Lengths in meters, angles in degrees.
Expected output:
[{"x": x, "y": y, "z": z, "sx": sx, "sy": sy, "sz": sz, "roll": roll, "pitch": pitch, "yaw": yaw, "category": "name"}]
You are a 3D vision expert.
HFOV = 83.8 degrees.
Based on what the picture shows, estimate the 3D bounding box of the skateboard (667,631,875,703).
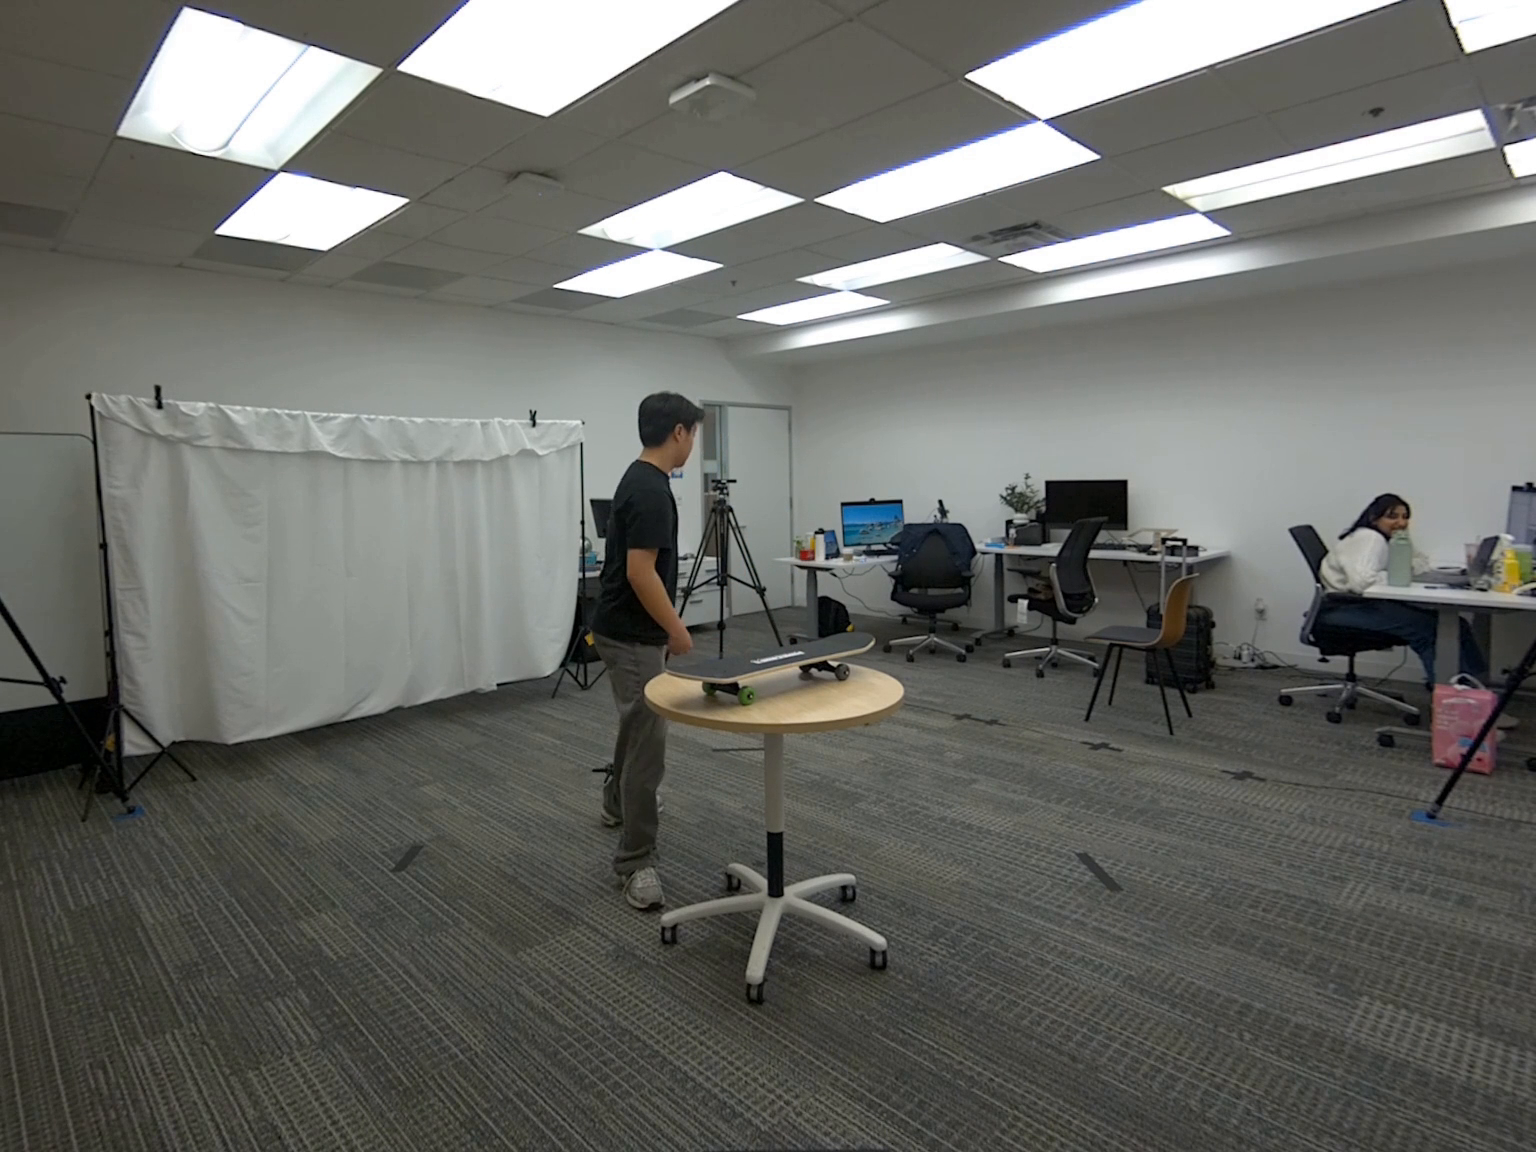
[{"x": 0.032, "y": 0.278, "z": 2.523, "sx": 0.765, "sy": 0.109, "sz": 0.200, "roll": -6, "pitch": 11, "yaw": -39, "category": "skateboard"}]
